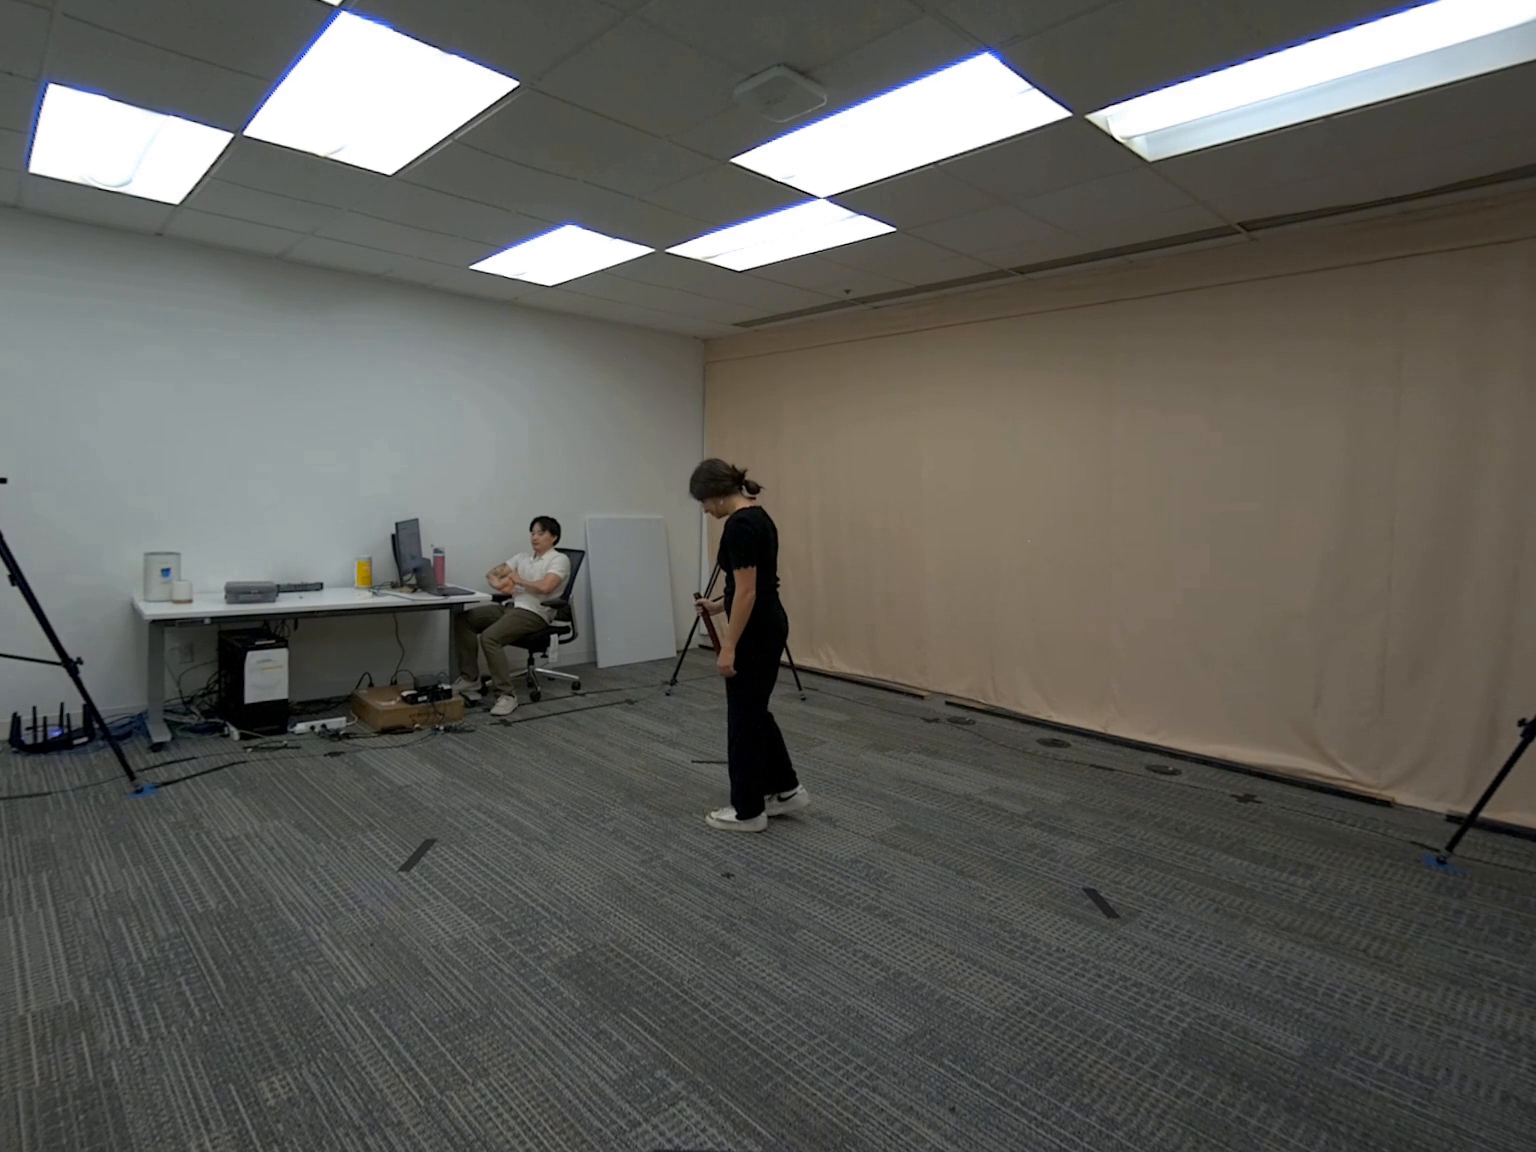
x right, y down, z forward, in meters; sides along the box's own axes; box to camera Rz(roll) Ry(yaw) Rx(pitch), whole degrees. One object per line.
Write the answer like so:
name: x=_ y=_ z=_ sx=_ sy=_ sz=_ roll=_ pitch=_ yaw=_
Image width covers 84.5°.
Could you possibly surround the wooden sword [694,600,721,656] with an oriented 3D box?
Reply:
wooden sword: x=-0.160 y=0.574 z=3.861 sx=0.051 sy=1.015 sz=0.024 roll=-25 pitch=13 yaw=-38
